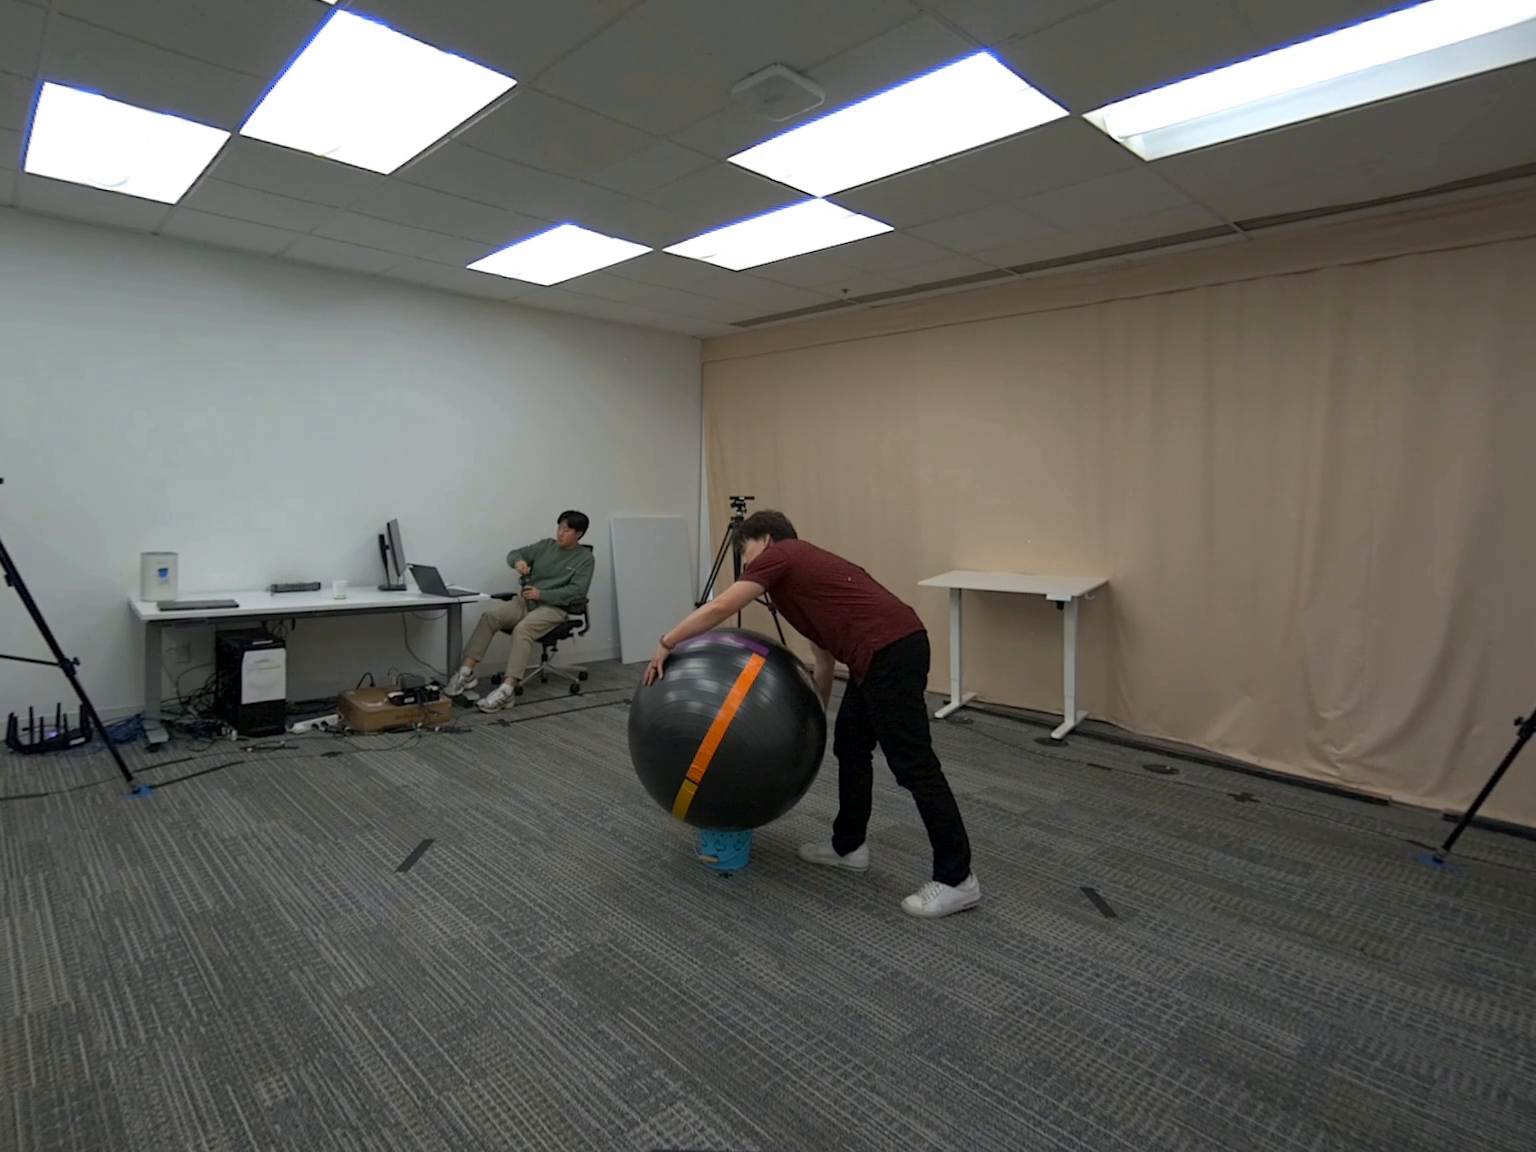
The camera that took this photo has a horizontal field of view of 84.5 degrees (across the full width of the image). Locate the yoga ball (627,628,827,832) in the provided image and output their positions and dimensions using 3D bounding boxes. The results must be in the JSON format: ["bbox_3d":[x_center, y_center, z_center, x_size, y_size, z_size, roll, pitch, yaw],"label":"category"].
[{"bbox_3d":[-0.161,0.579,3.213,0.757,0.756,0.761,1,4,-1],"label":"yoga ball"}]
